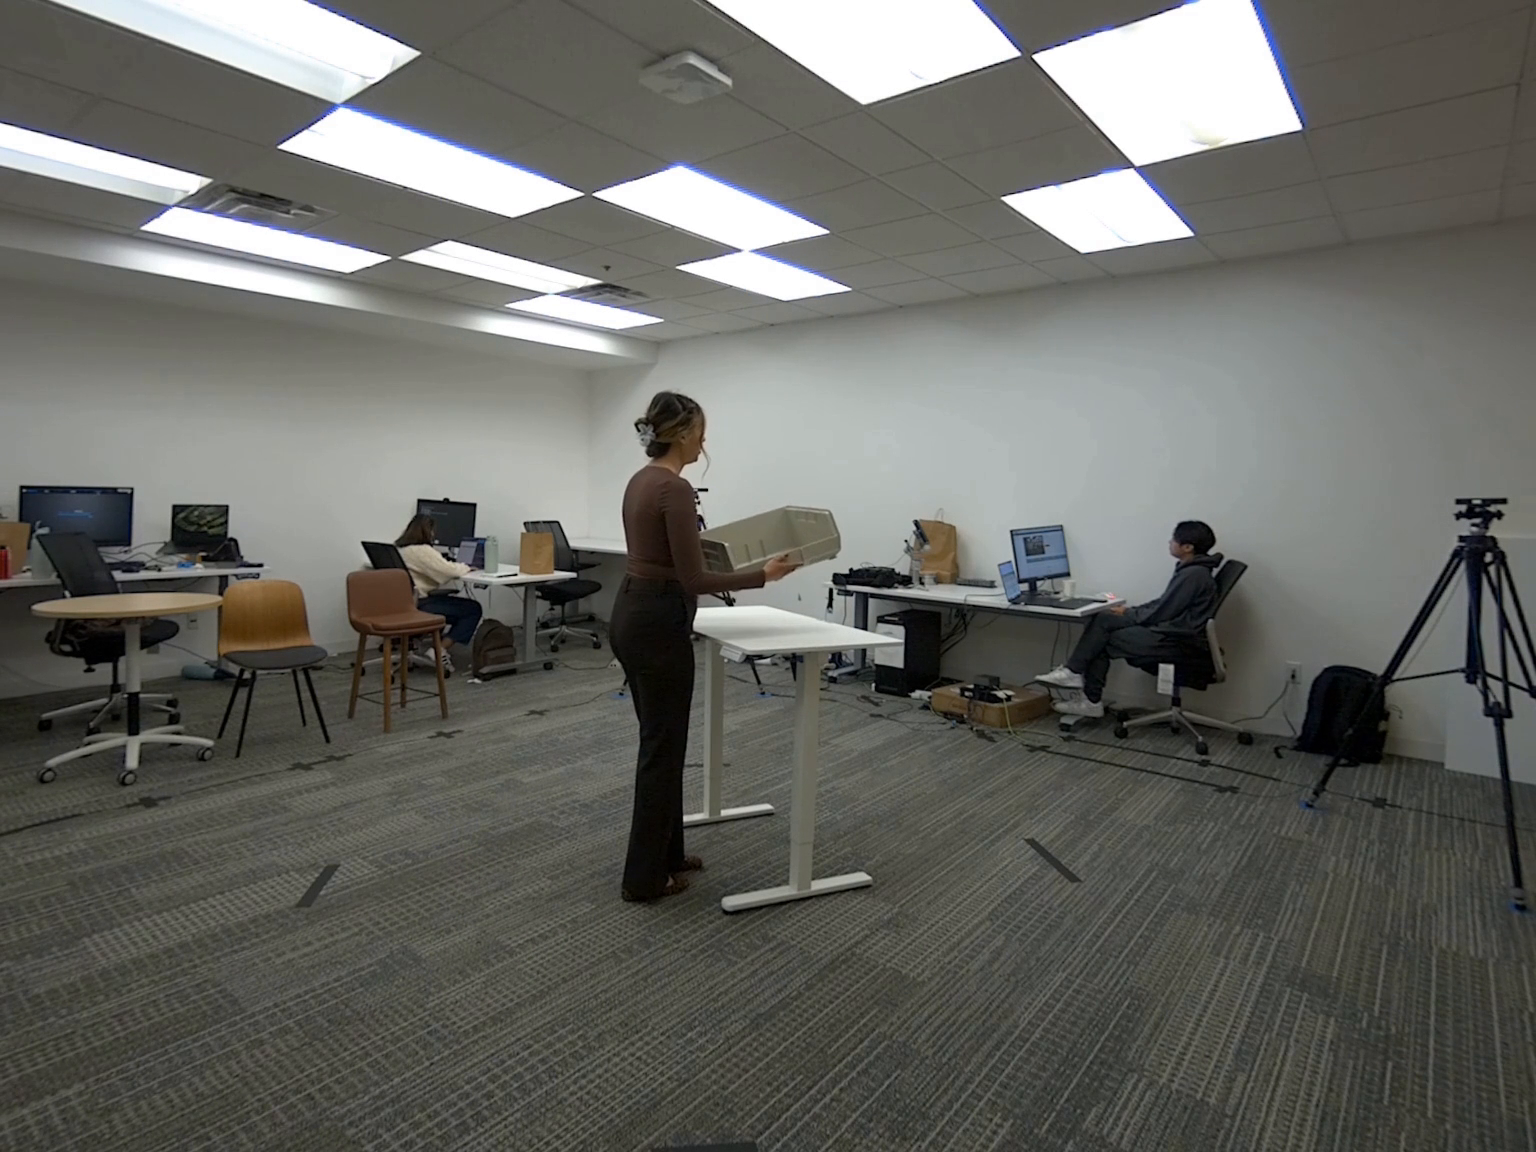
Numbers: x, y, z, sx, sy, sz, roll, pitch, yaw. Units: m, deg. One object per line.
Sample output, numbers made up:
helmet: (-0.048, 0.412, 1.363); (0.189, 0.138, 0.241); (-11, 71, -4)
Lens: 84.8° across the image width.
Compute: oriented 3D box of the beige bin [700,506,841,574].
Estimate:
beige bin: (-0.019, -0.103, 3.068); (0.416, 0.186, 0.388); (-19, 13, -22)
